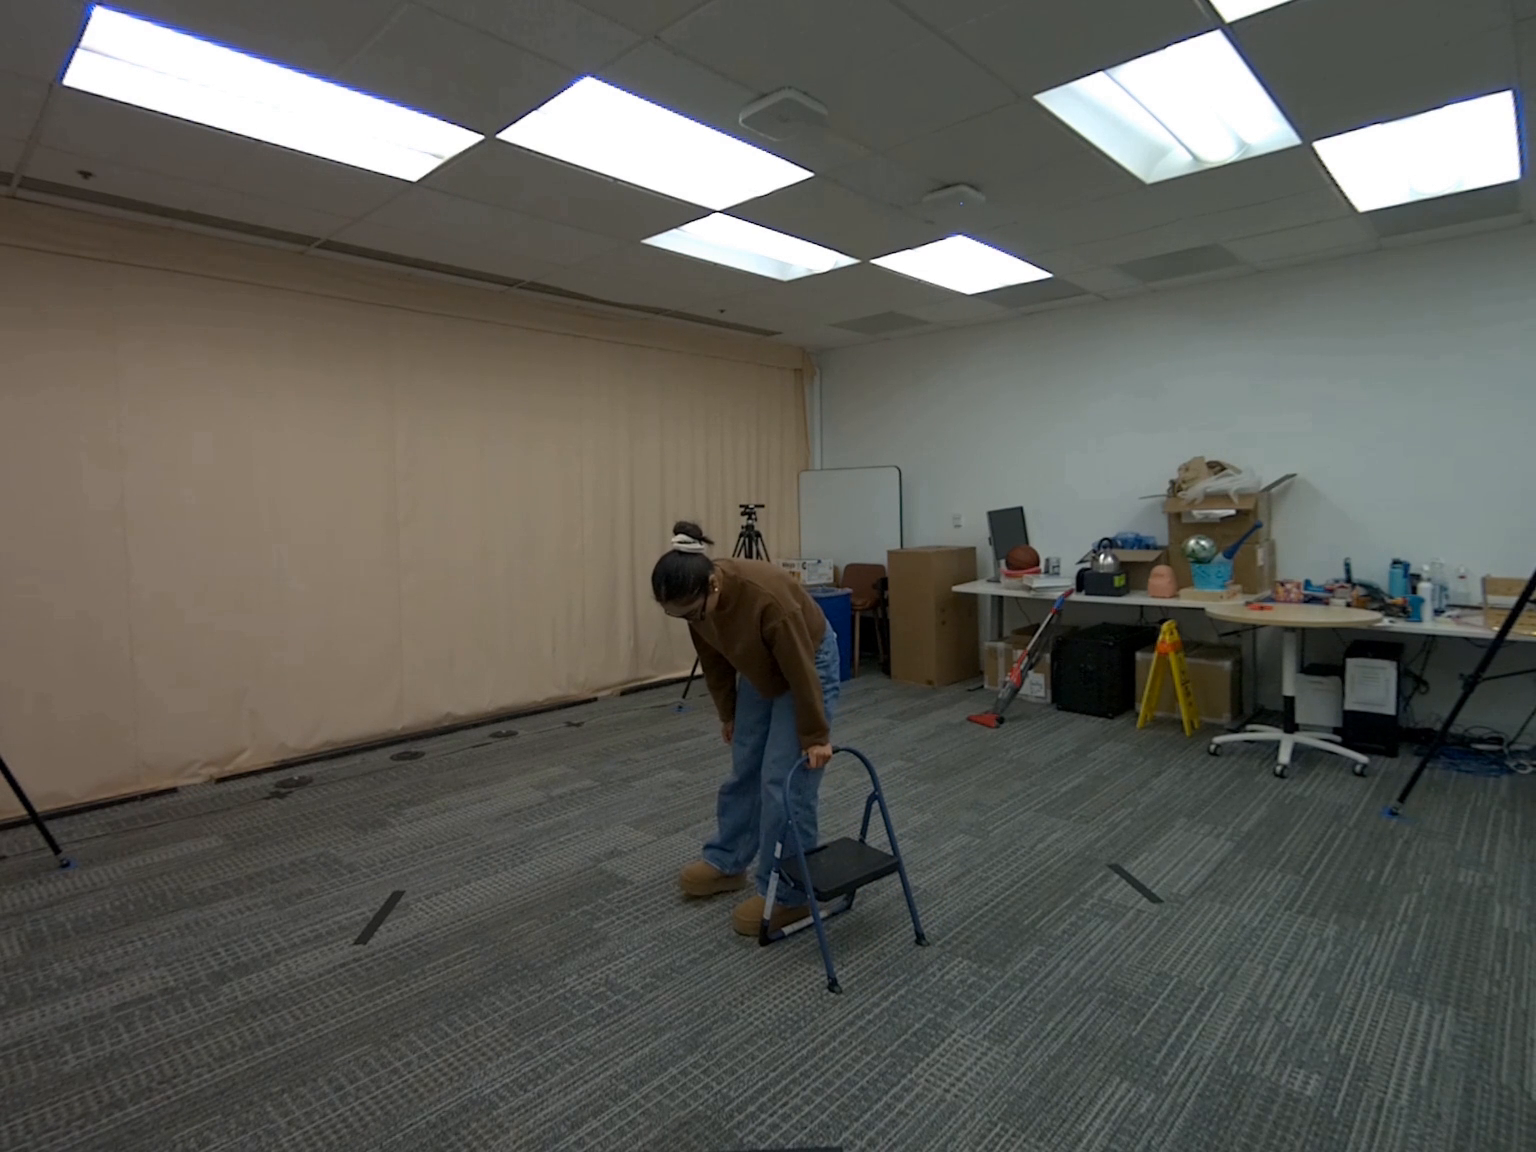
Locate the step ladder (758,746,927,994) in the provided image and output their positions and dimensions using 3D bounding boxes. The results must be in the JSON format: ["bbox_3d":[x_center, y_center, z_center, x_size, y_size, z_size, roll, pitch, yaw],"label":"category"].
[{"bbox_3d":[0.240,0.861,2.636,0.418,0.605,0.360,-4,4,-40],"label":"step ladder"}]
